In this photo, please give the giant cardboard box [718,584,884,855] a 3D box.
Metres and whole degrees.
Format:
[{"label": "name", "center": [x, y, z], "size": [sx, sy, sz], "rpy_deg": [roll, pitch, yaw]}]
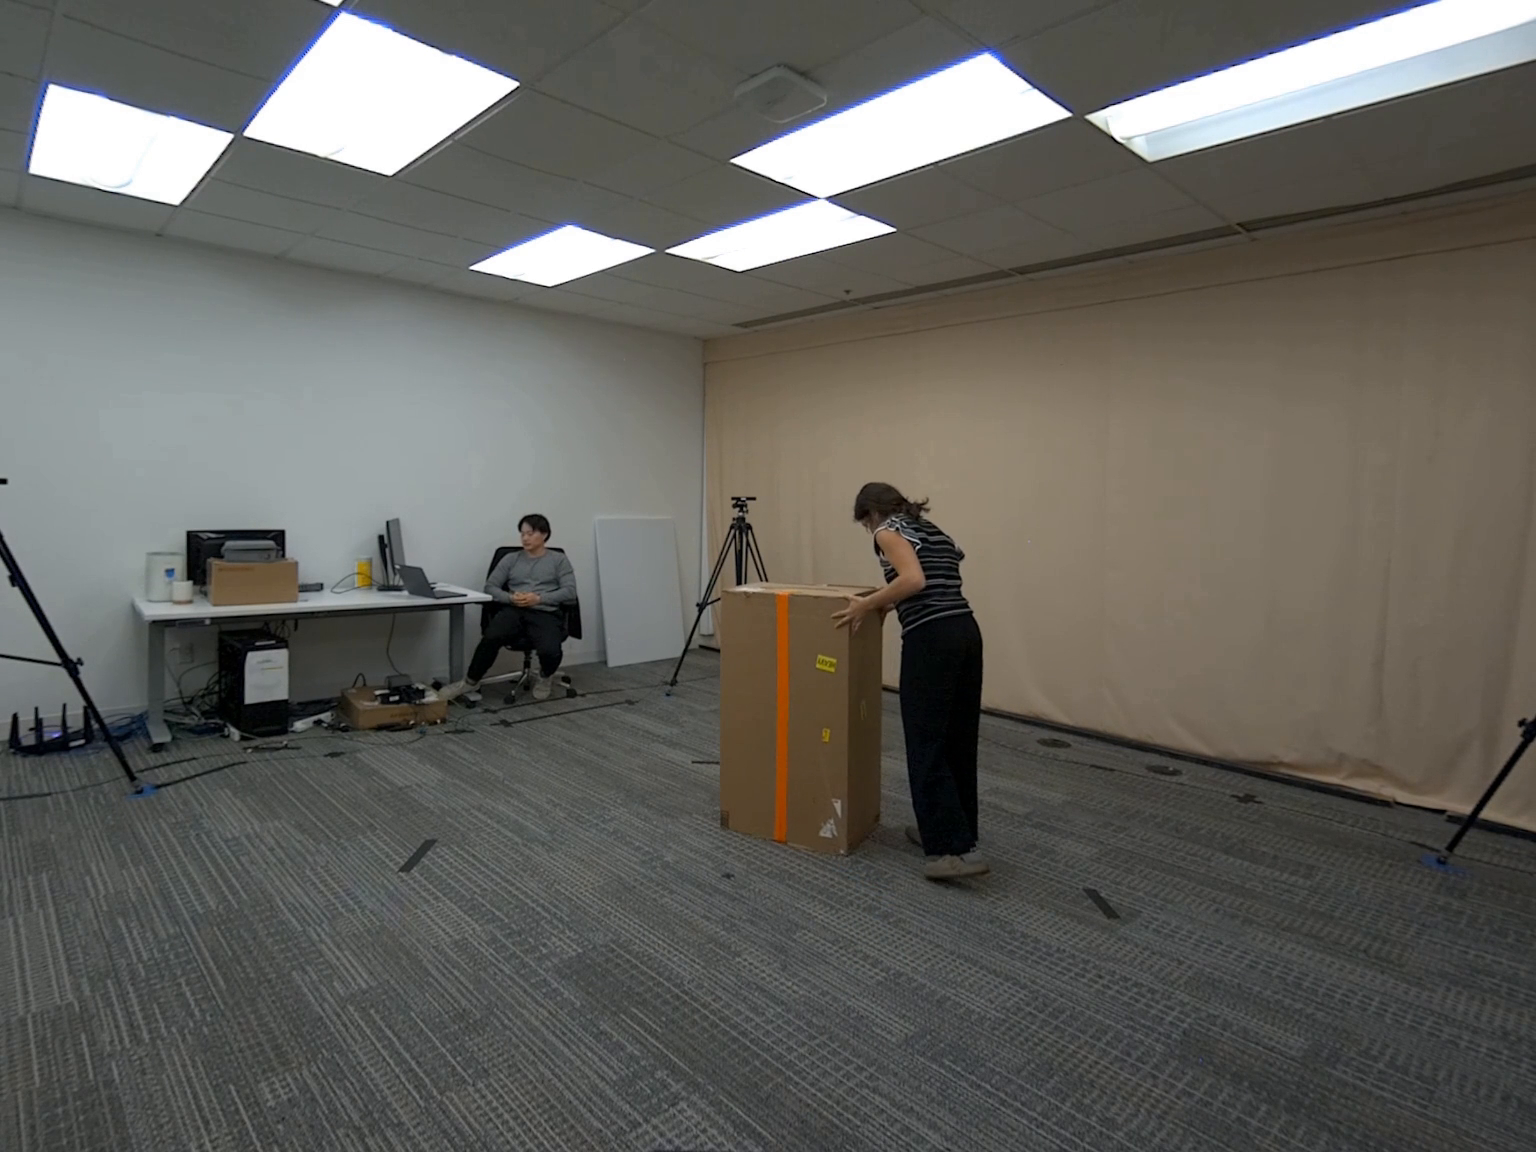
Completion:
[{"label": "giant cardboard box", "center": [0.140, 0.566, 3.587], "size": [0.589, 1.024, 0.418], "rpy_deg": [2, 3, 29]}]
